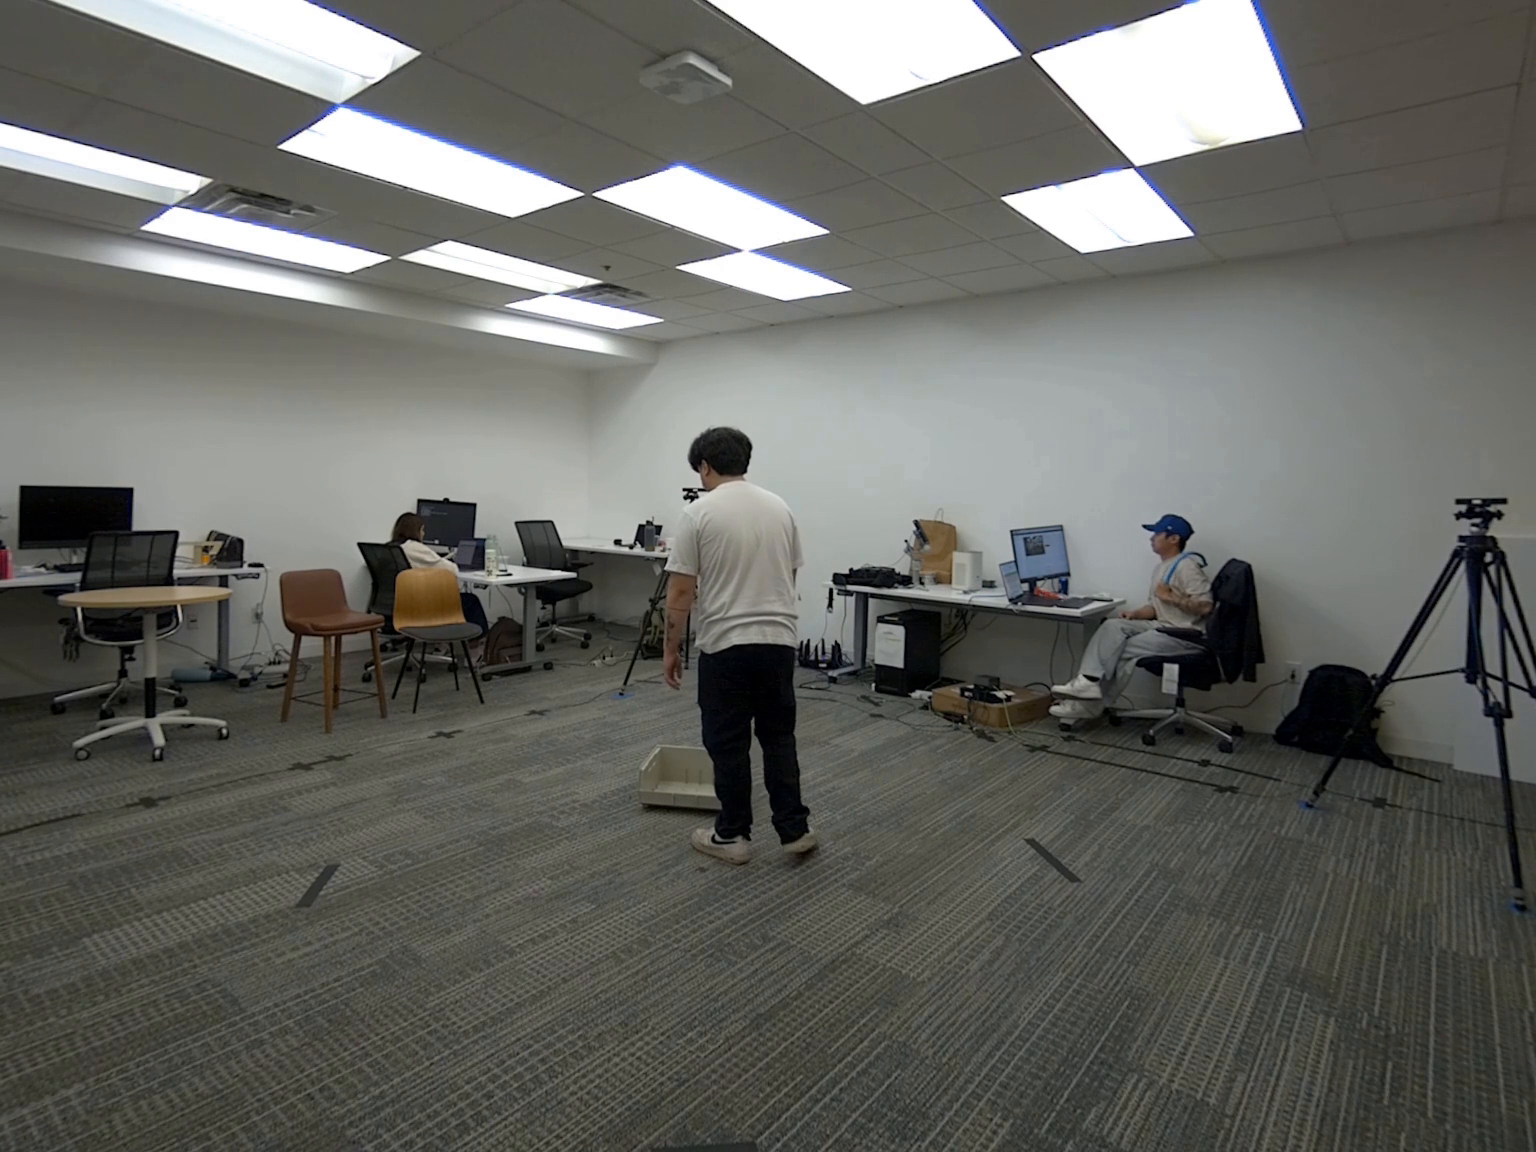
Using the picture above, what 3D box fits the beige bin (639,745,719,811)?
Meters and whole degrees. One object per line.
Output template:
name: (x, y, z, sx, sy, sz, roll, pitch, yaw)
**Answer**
beige bin: (-0.347, 0.910, 3.810, 0.426, 0.188, 0.375, 1, 4, 7)
